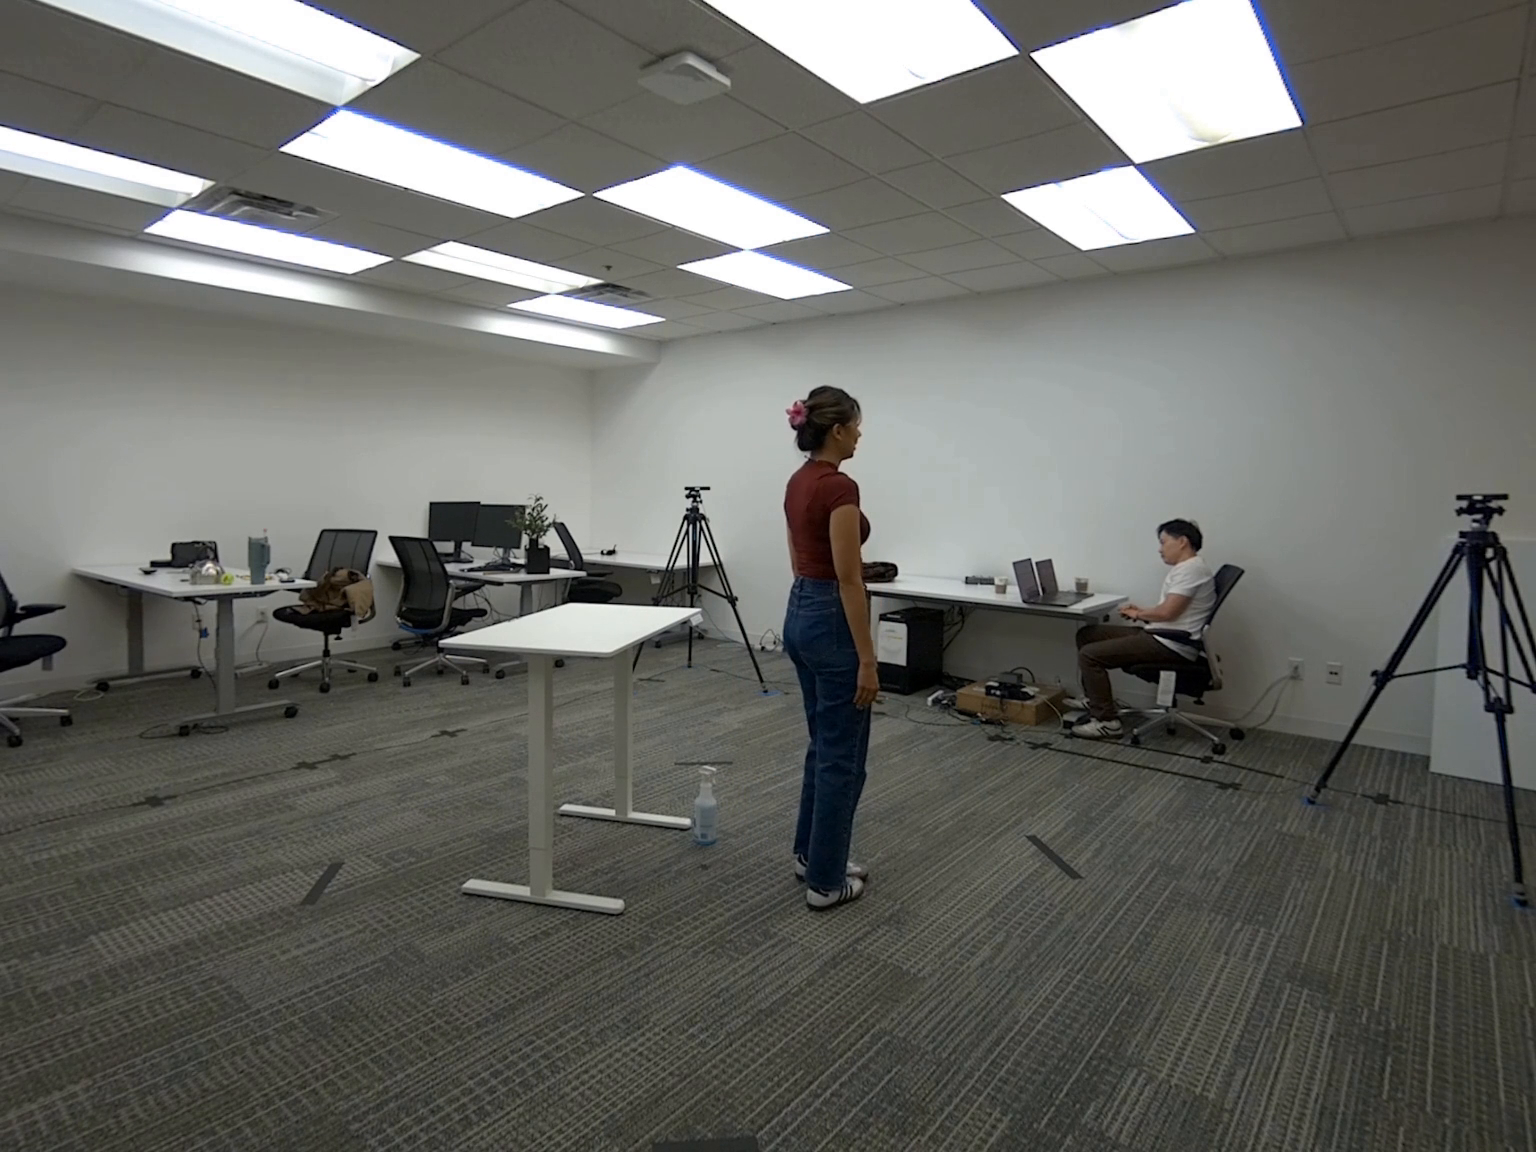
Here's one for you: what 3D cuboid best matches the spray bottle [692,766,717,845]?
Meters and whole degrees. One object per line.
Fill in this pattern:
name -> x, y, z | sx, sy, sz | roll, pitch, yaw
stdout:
spray bottle -> -0.254, 0.893, 3.345 | 0.085, 0.296, 0.092 | 0, 4, -21
